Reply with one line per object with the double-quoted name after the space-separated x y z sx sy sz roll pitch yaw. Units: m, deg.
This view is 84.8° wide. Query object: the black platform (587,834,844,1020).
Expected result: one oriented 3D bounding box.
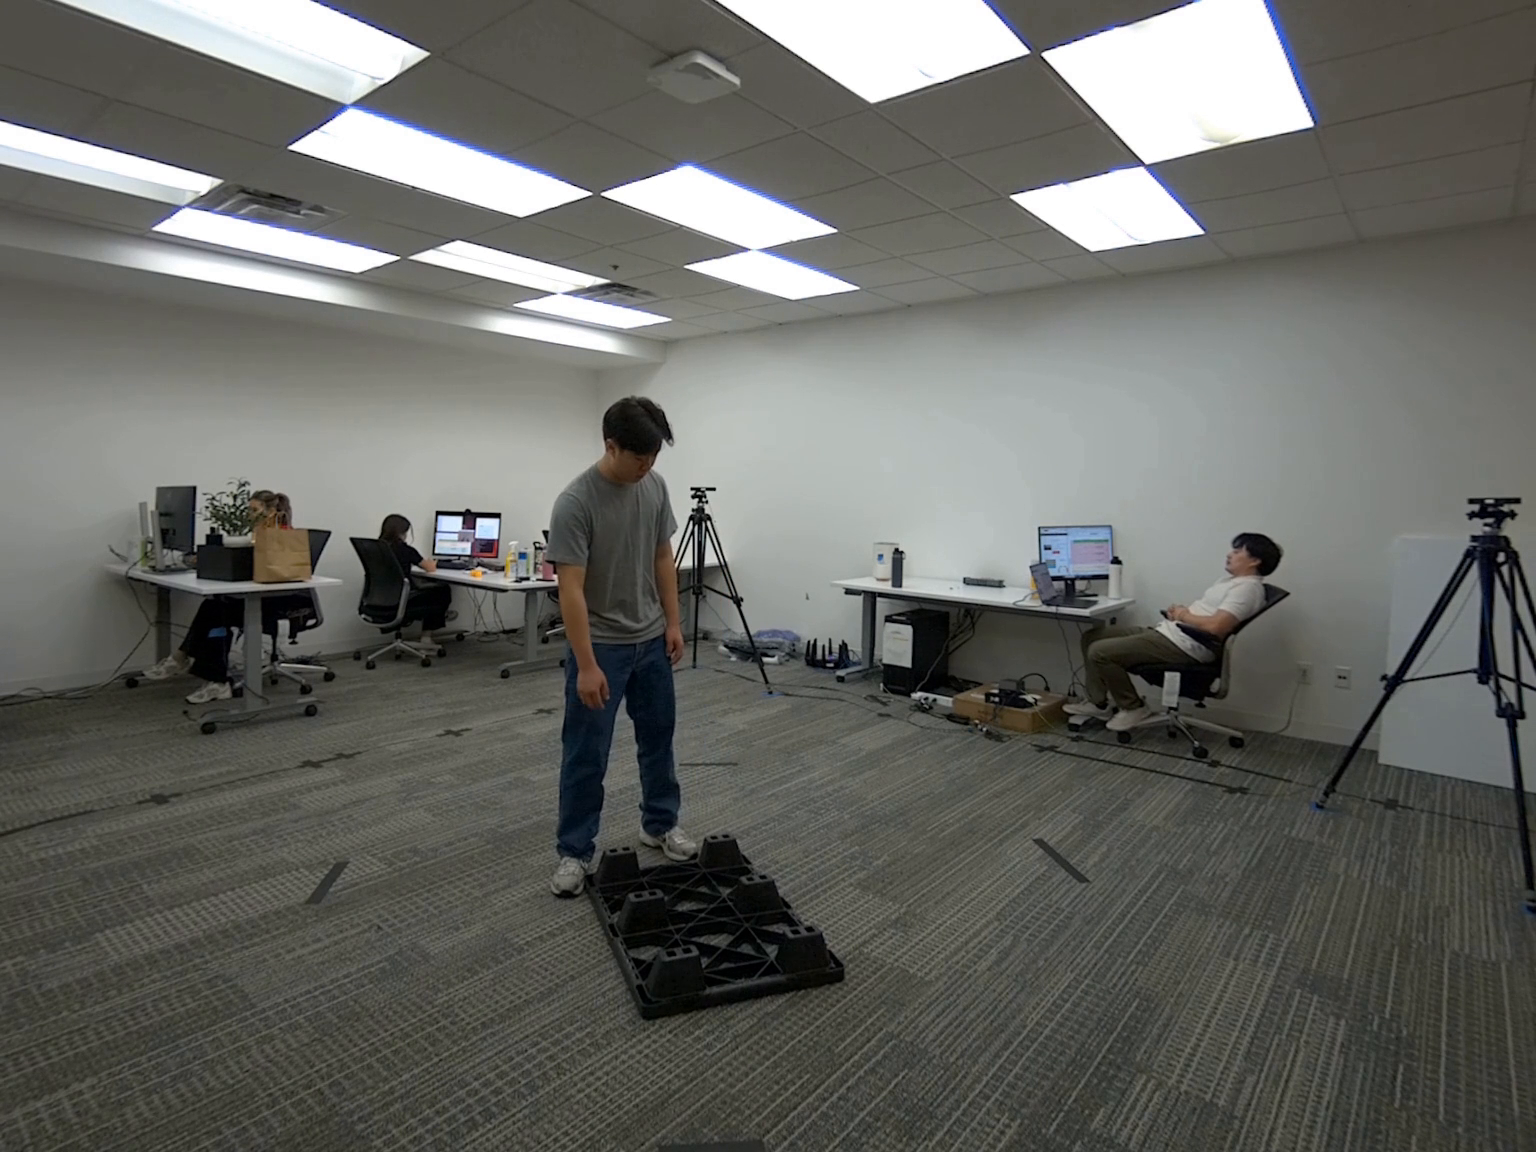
-0.208 1.040 2.678 0.592 0.143 0.827 -2 7 -23 "black platform"
